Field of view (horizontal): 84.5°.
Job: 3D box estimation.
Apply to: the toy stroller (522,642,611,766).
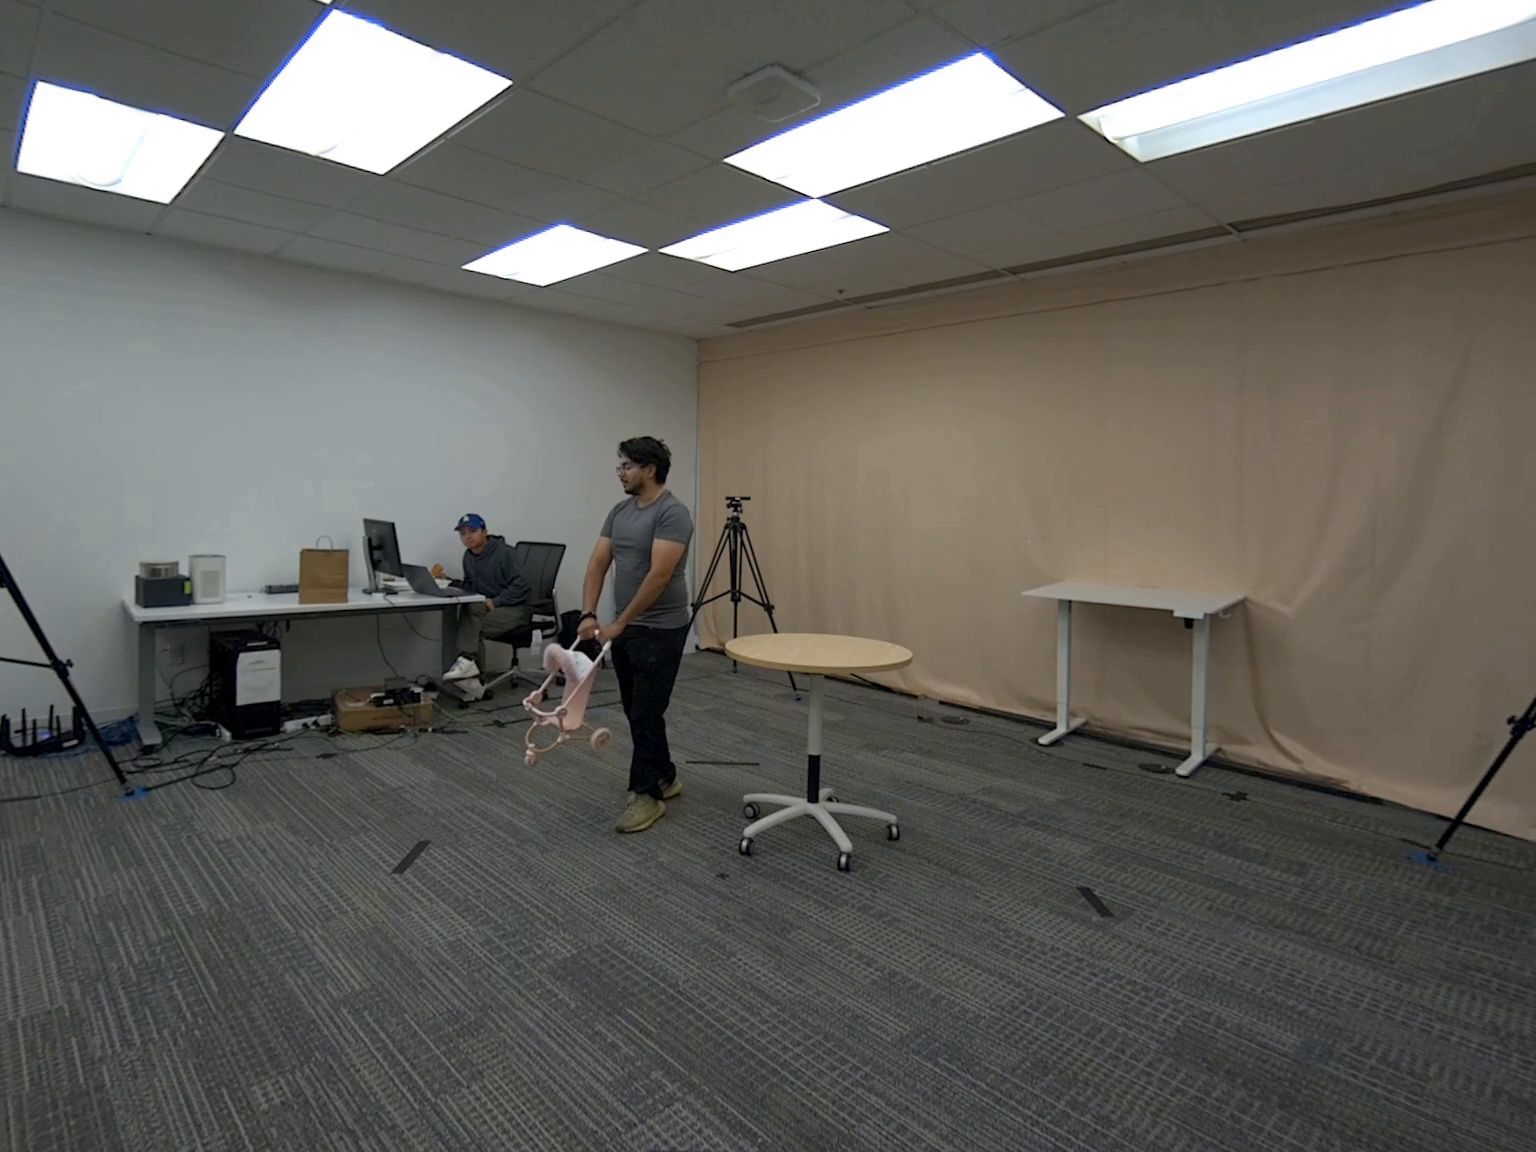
[{"bbox_3d":[-0.843,0.504,3.443,0.333,0.531,0.290,-1,14,-41],"label":"toy stroller"}]
